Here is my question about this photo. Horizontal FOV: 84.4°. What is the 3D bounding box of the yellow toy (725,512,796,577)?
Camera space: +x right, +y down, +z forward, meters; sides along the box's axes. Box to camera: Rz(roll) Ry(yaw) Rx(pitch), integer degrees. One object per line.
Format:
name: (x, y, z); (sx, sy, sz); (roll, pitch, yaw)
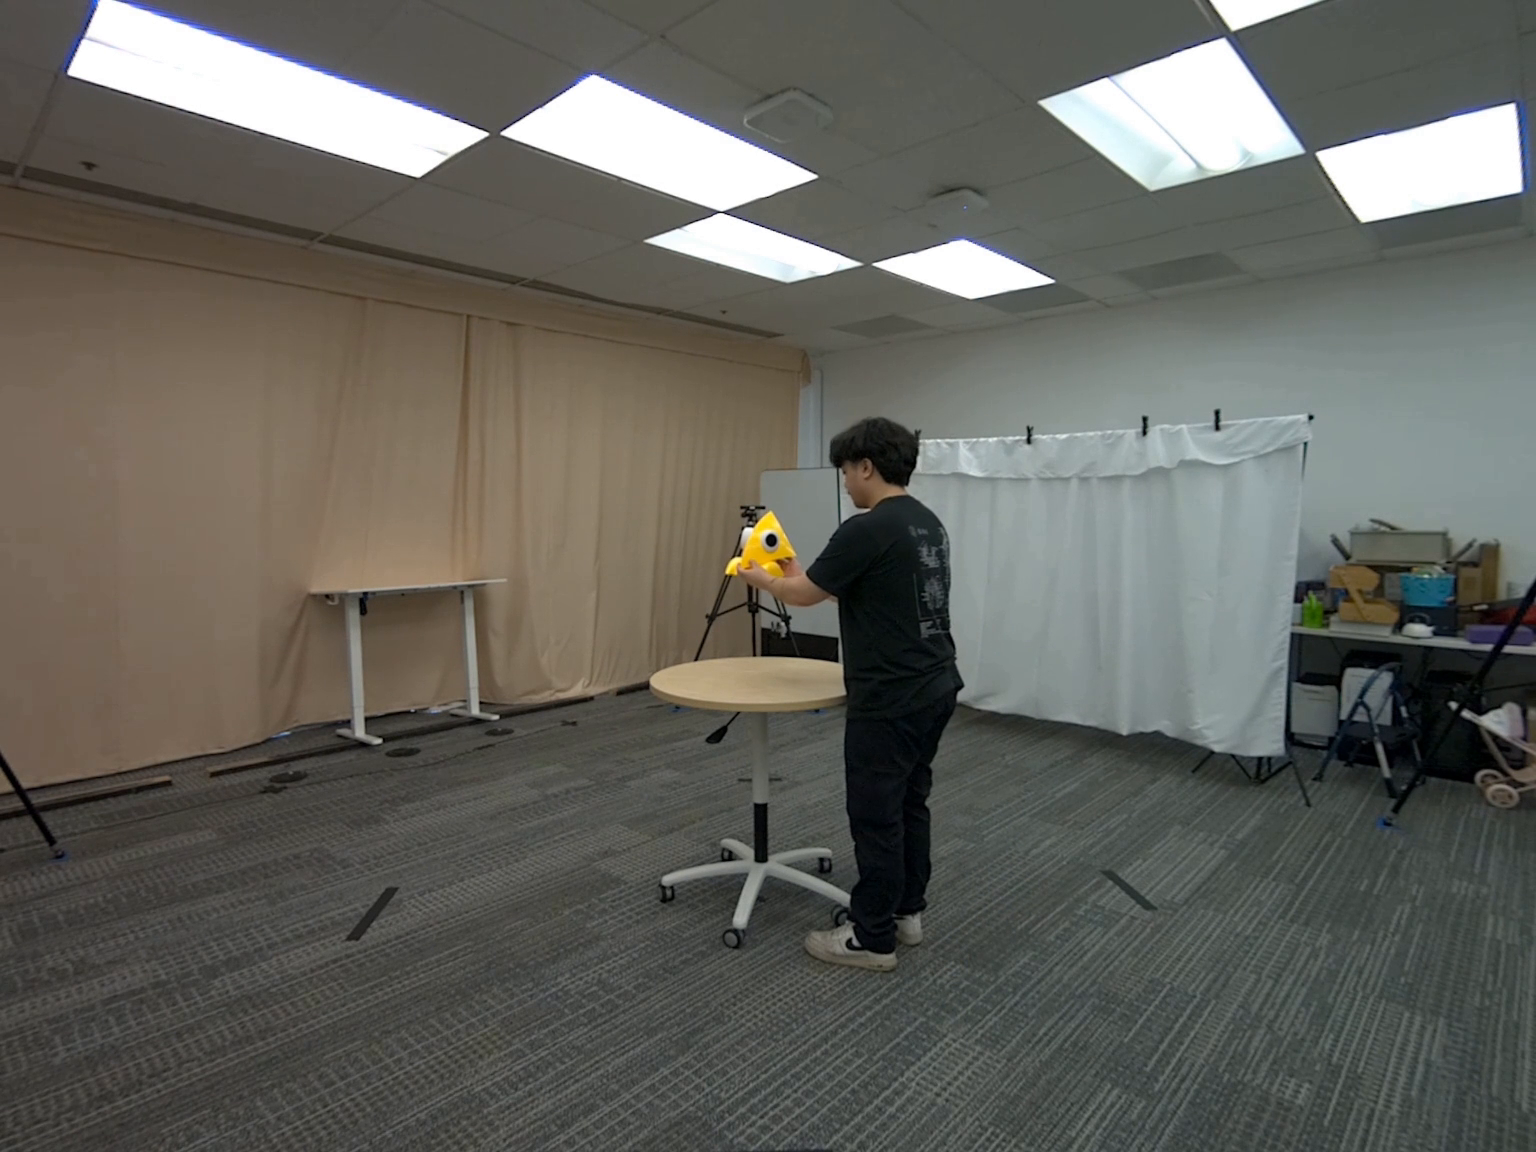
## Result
yellow toy: (-0.031, -0.116, 2.980); (0.212, 0.230, 0.187); (8, 6, 38)
